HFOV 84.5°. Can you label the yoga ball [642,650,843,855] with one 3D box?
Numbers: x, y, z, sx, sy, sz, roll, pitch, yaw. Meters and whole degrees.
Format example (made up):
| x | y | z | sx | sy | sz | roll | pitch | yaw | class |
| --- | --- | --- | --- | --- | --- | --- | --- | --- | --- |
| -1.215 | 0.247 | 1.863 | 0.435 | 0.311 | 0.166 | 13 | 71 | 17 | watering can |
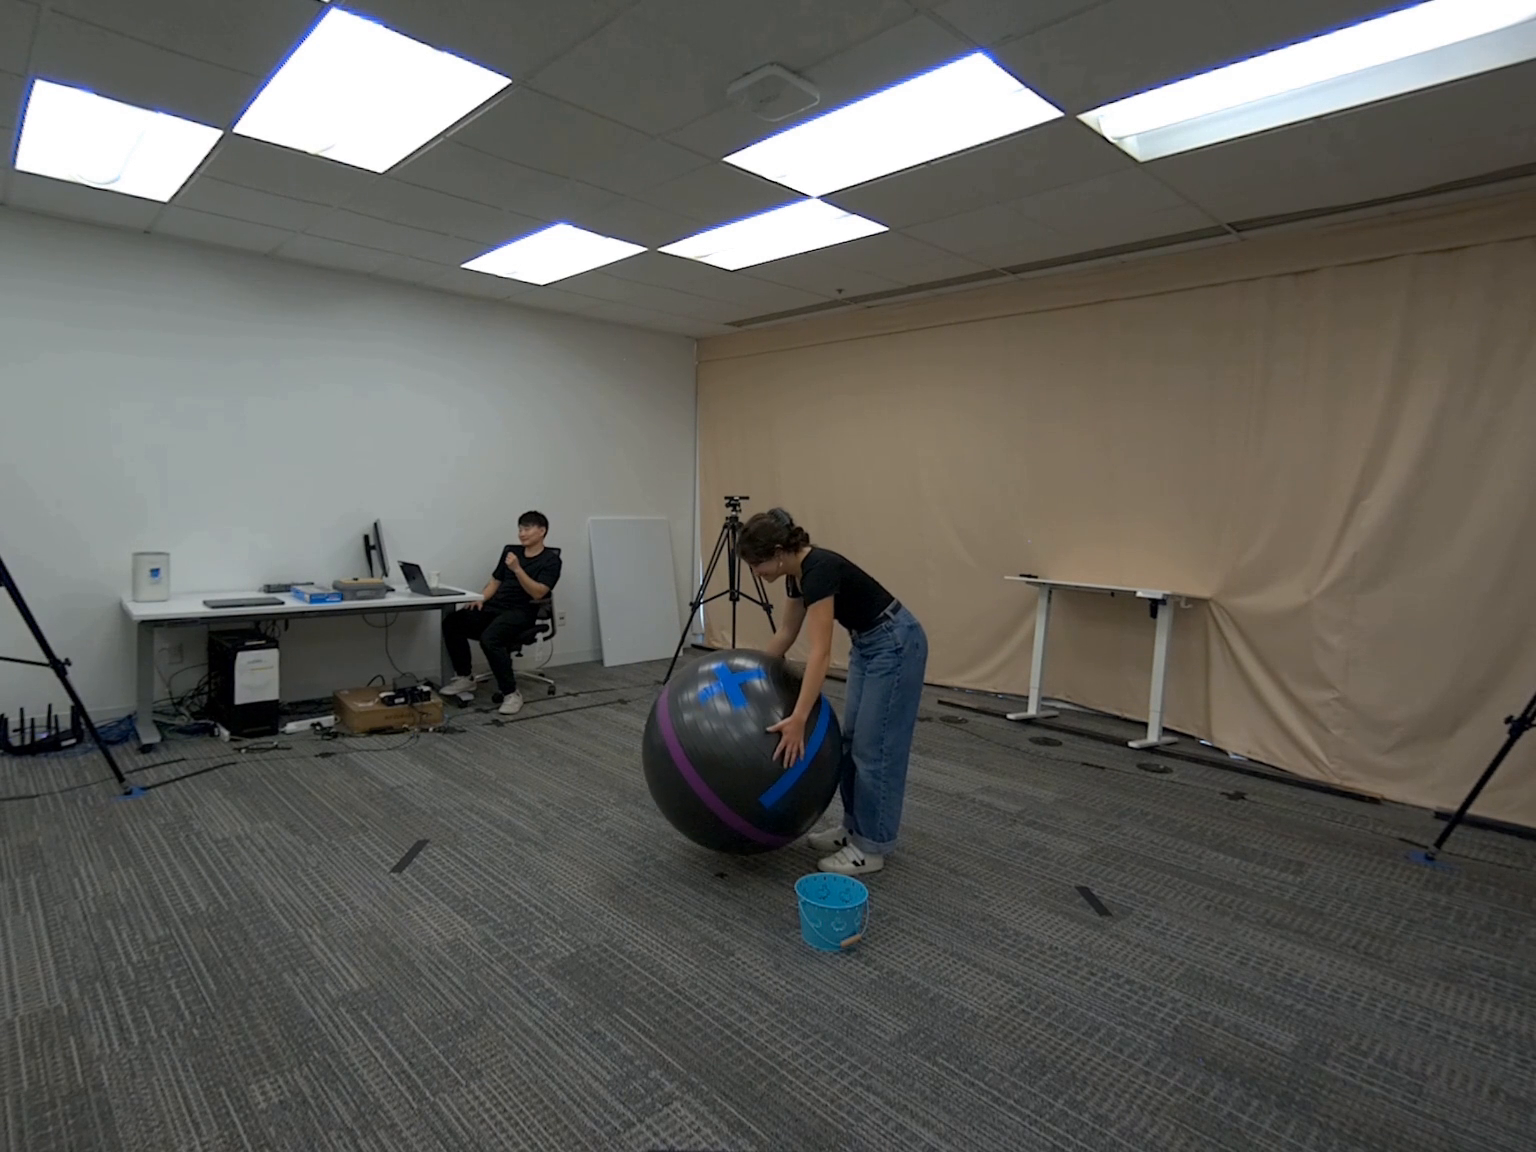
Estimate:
| x | y | z | sx | sy | sz | roll | pitch | yaw | class |
| --- | --- | --- | --- | --- | --- | --- | --- | --- | --- |
| -0.113 | 0.684 | 3.203 | 0.757 | 0.756 | 0.761 | 1 | 4 | -1 | yoga ball |
